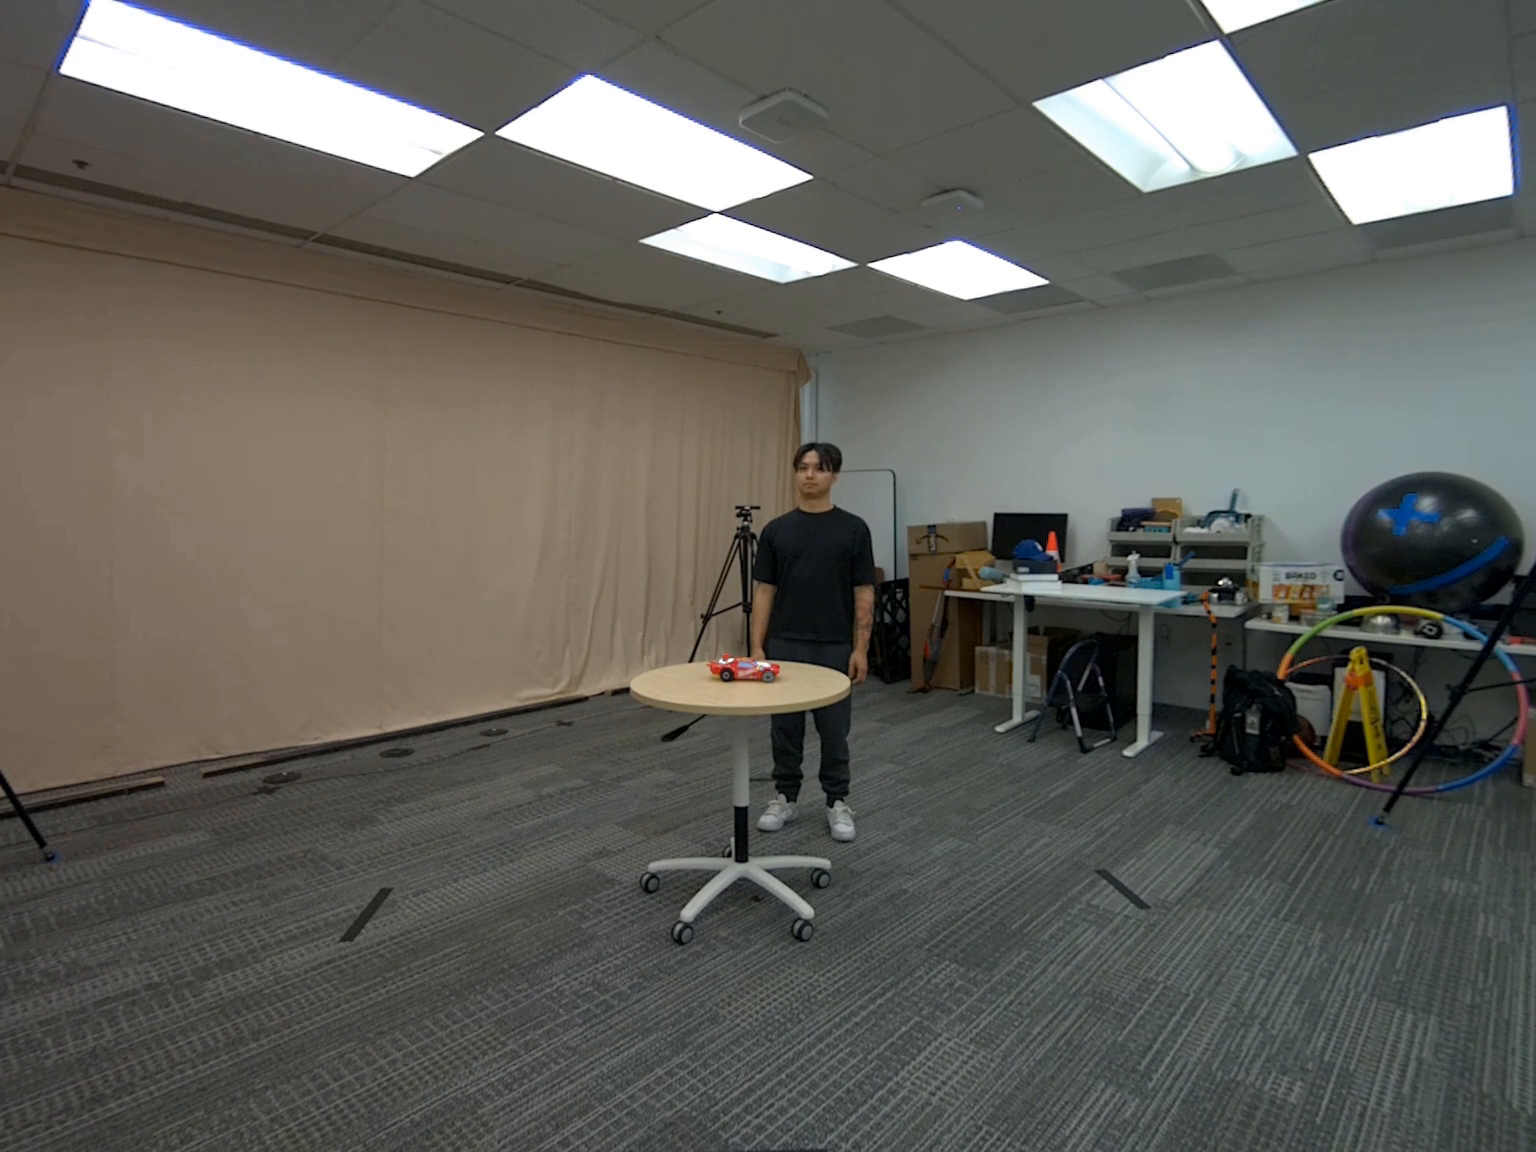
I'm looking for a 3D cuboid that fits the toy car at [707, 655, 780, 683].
[{"bbox_3d":[-0.085,0.332,2.959,0.257,0.083,0.129,11,6,7],"label":"toy car"}]
